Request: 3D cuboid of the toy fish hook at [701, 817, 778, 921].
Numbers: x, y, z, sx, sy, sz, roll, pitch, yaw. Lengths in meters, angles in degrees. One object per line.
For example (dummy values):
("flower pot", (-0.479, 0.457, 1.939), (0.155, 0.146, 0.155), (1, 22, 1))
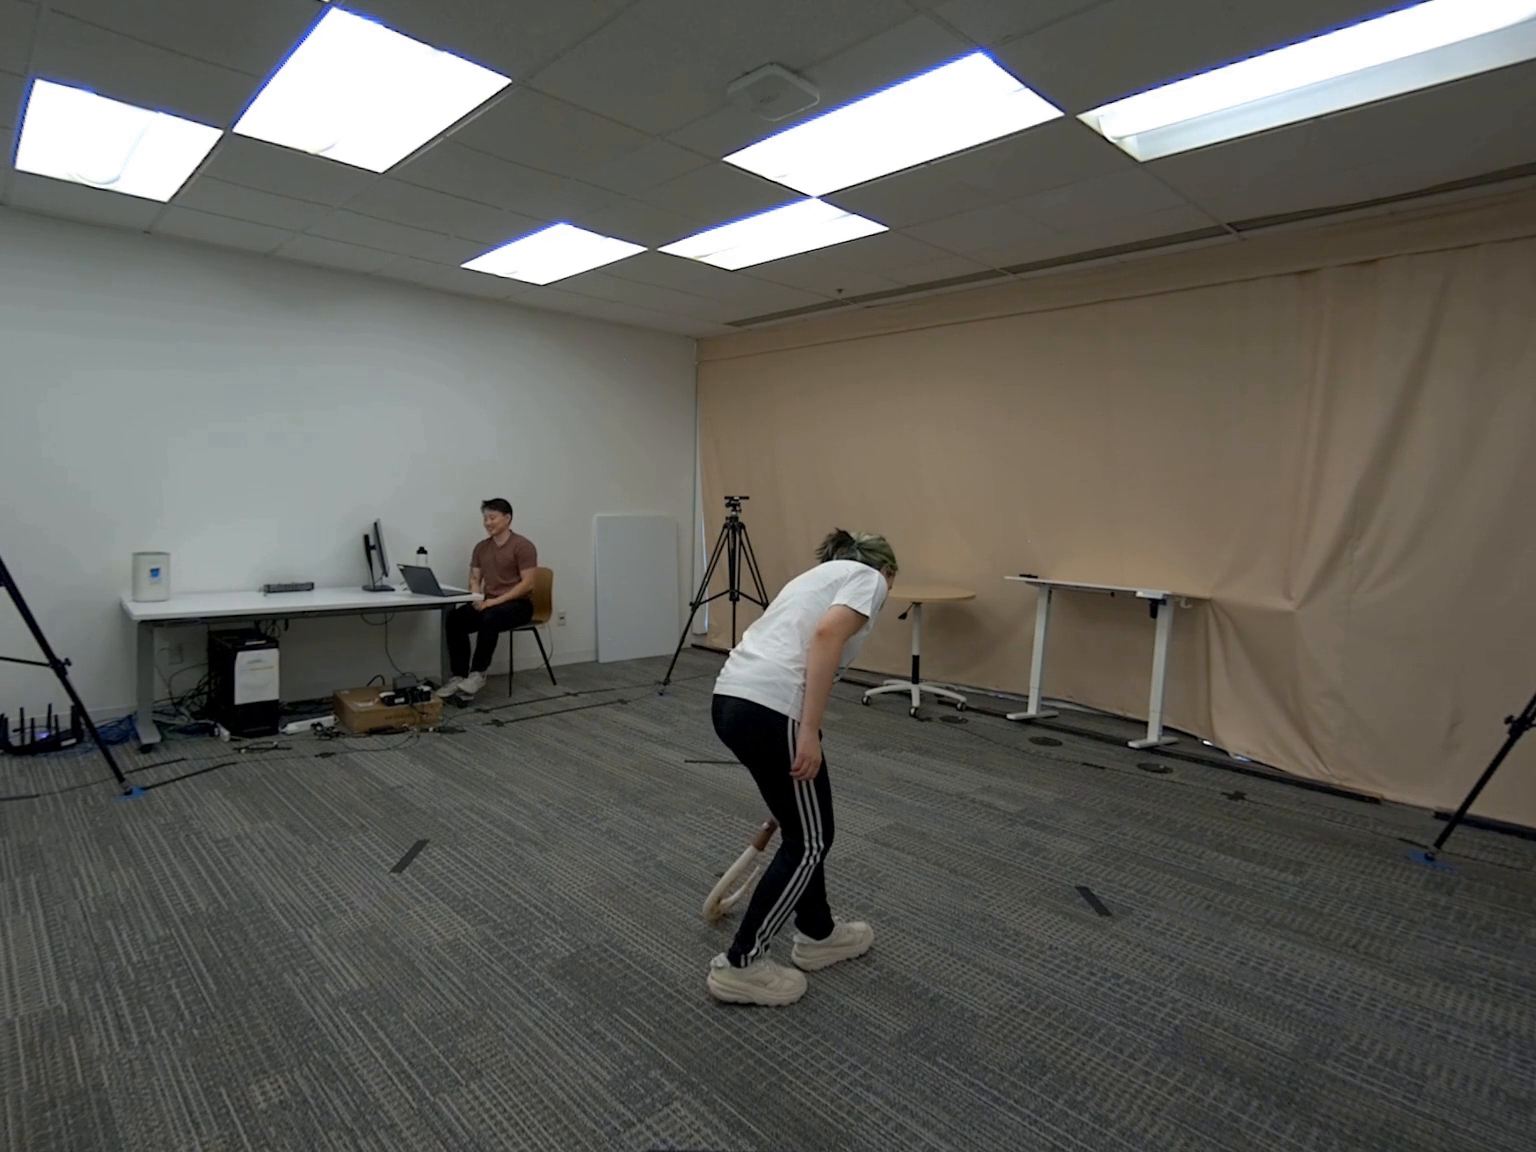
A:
("toy fish hook", (-0.046, 0.913, 2.733), (0.049, 0.506, 0.219), (39, 11, 26))
